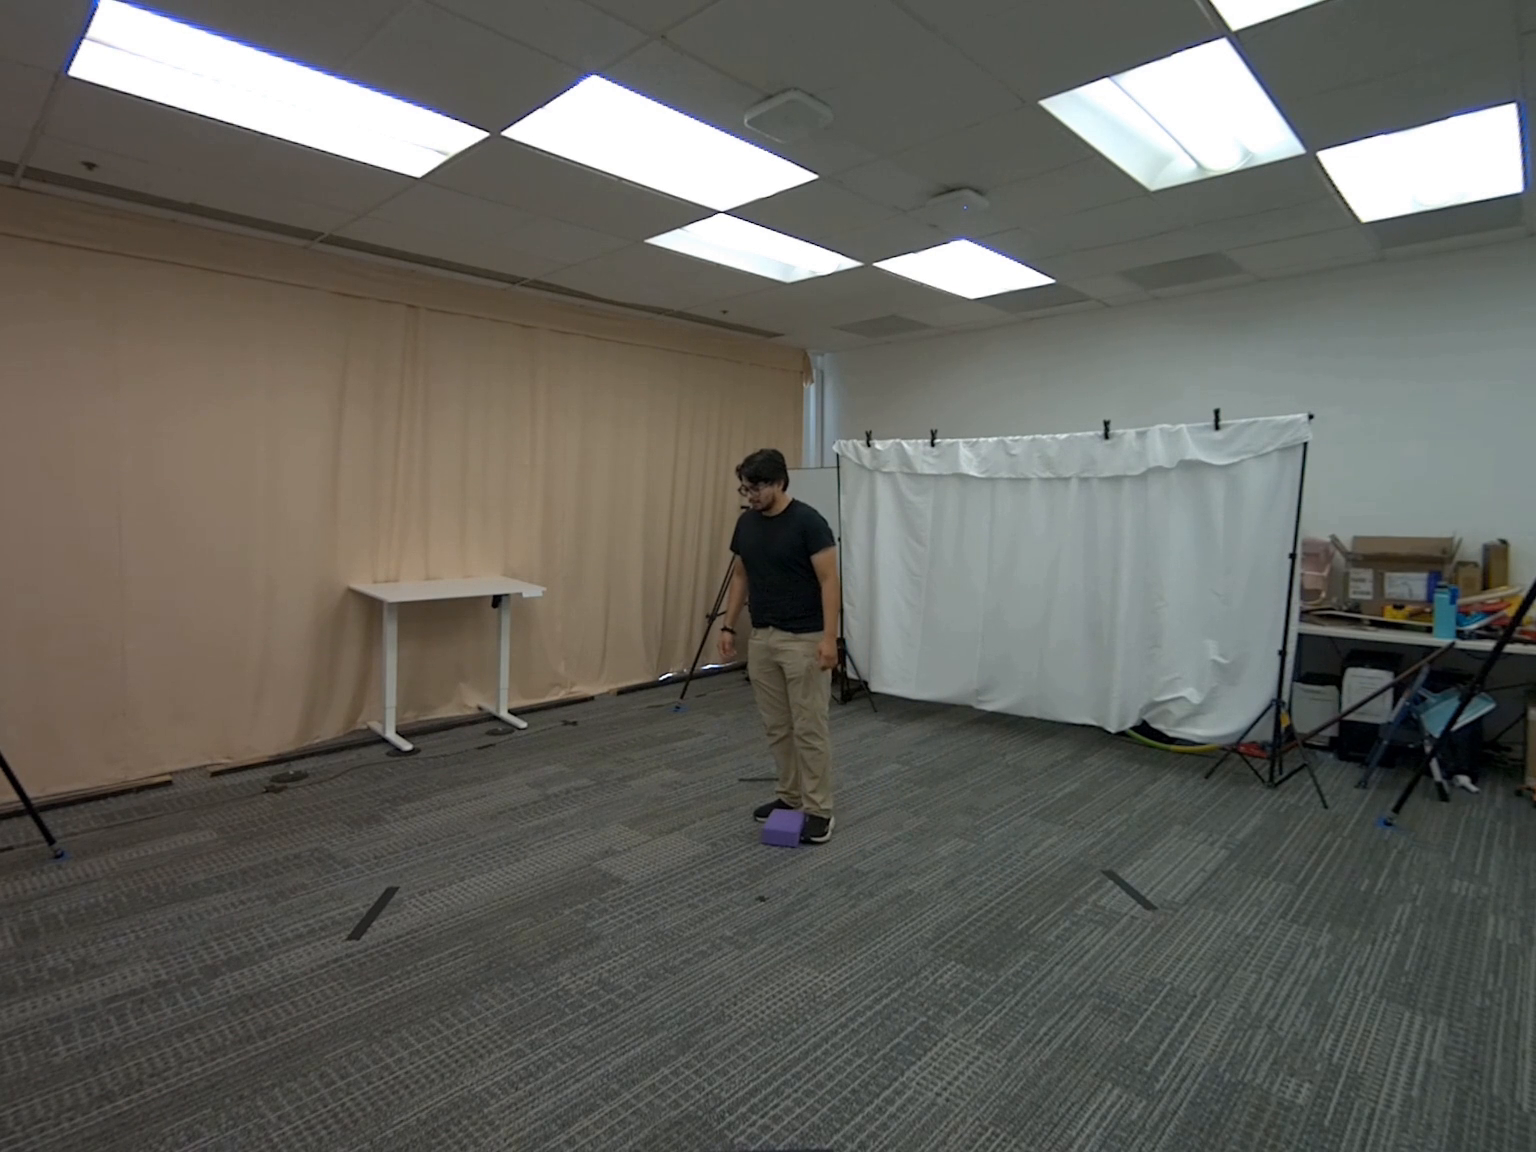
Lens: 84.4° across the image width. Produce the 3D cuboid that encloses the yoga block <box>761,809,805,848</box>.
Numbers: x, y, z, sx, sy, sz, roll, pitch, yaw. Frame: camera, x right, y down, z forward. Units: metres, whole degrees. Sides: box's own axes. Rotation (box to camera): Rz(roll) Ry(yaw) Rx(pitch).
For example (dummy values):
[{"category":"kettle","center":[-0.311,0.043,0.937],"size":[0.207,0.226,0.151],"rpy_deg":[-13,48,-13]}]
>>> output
[{"category":"yoga block","center":[0.079,1.053,3.545],"size":[0.151,0.076,0.226],"rpy_deg":[2,5,14]}]
